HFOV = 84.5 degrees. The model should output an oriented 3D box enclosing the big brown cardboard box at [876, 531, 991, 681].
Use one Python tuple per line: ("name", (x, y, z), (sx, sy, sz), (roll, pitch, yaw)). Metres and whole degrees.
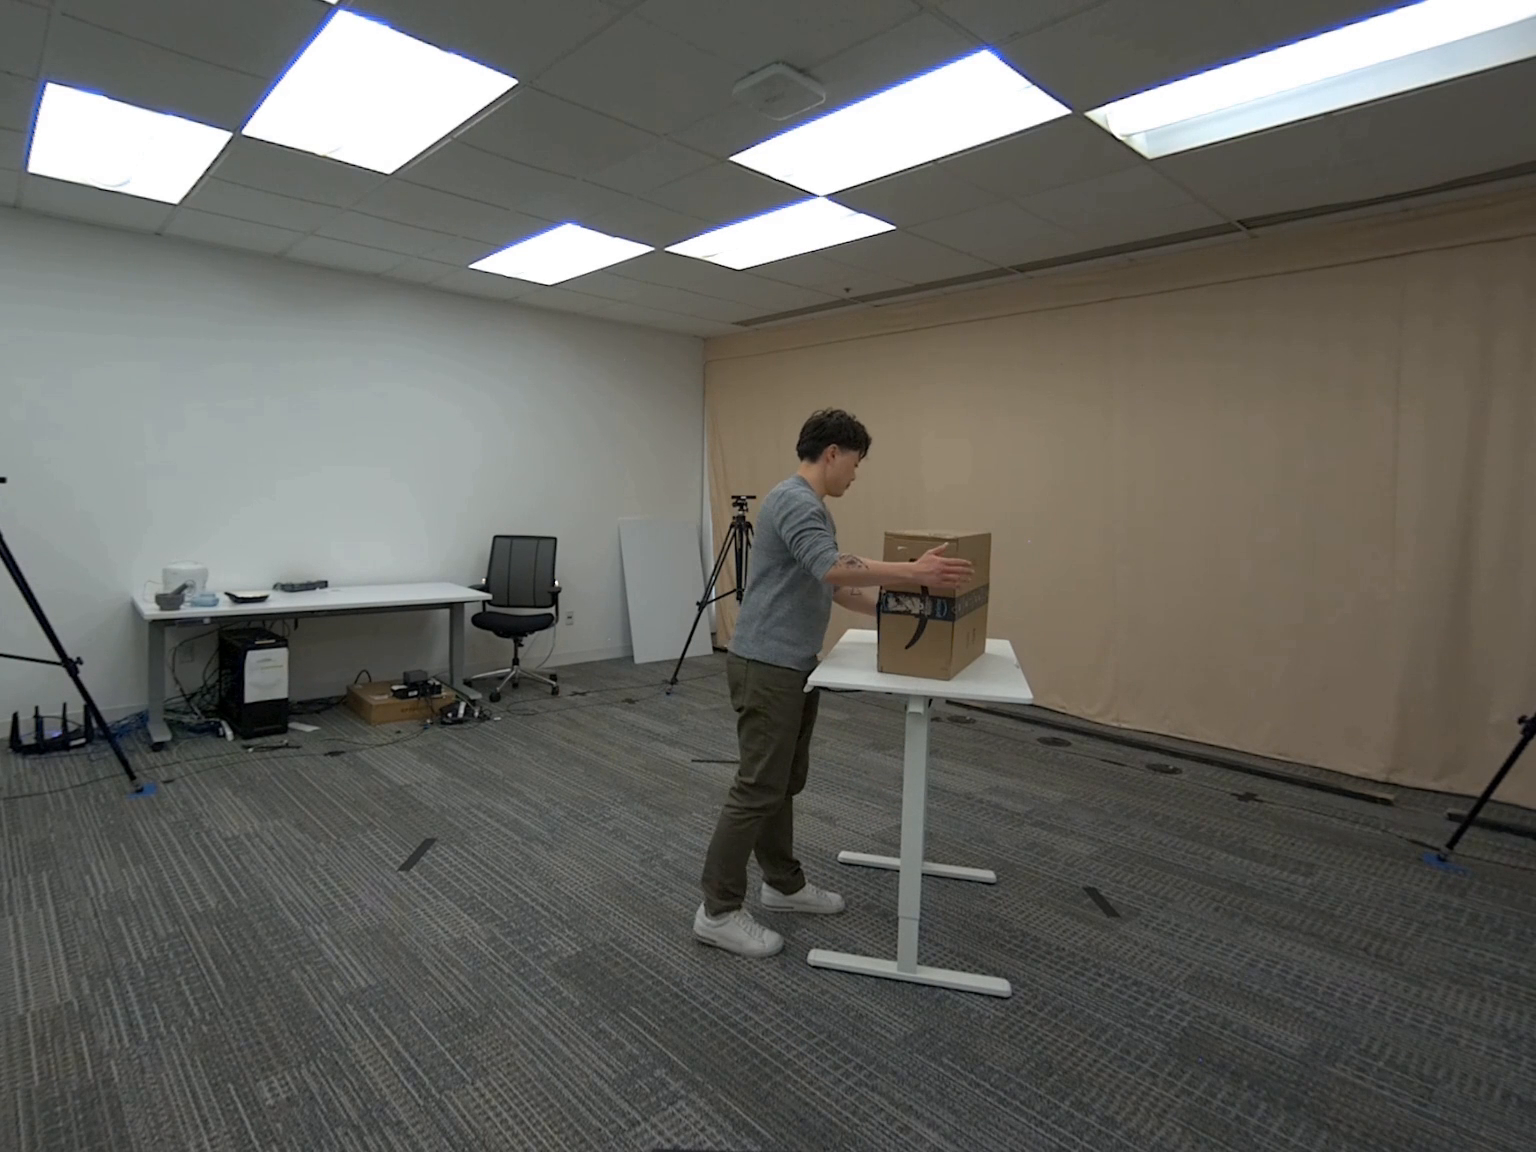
("big brown cardboard box", (0.534, 0.070, 2.675), (0.238, 0.416, 0.579), (4, 5, 26))
